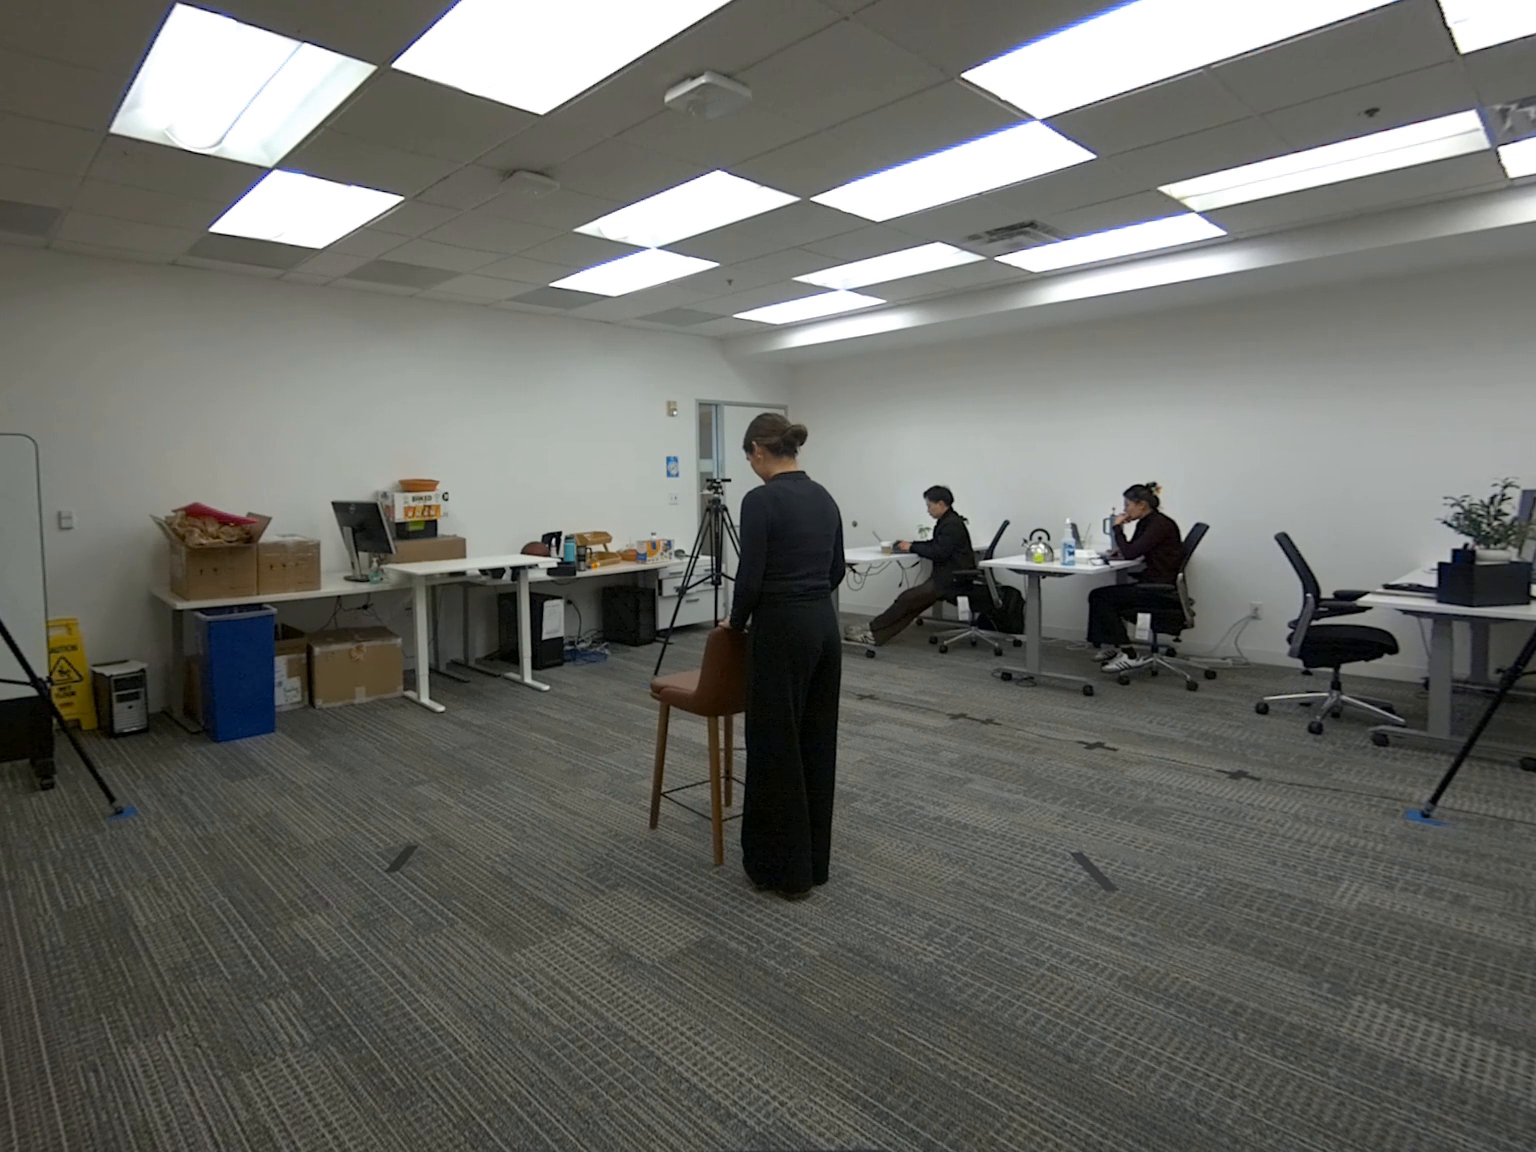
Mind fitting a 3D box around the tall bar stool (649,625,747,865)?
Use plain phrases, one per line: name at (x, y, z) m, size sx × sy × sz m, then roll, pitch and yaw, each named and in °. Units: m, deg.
tall bar stool at (-0.178, 0.581, 3.341) m, size 0.444 × 0.885 × 0.482 m, roll -4°, pitch 7°, yaw -38°
